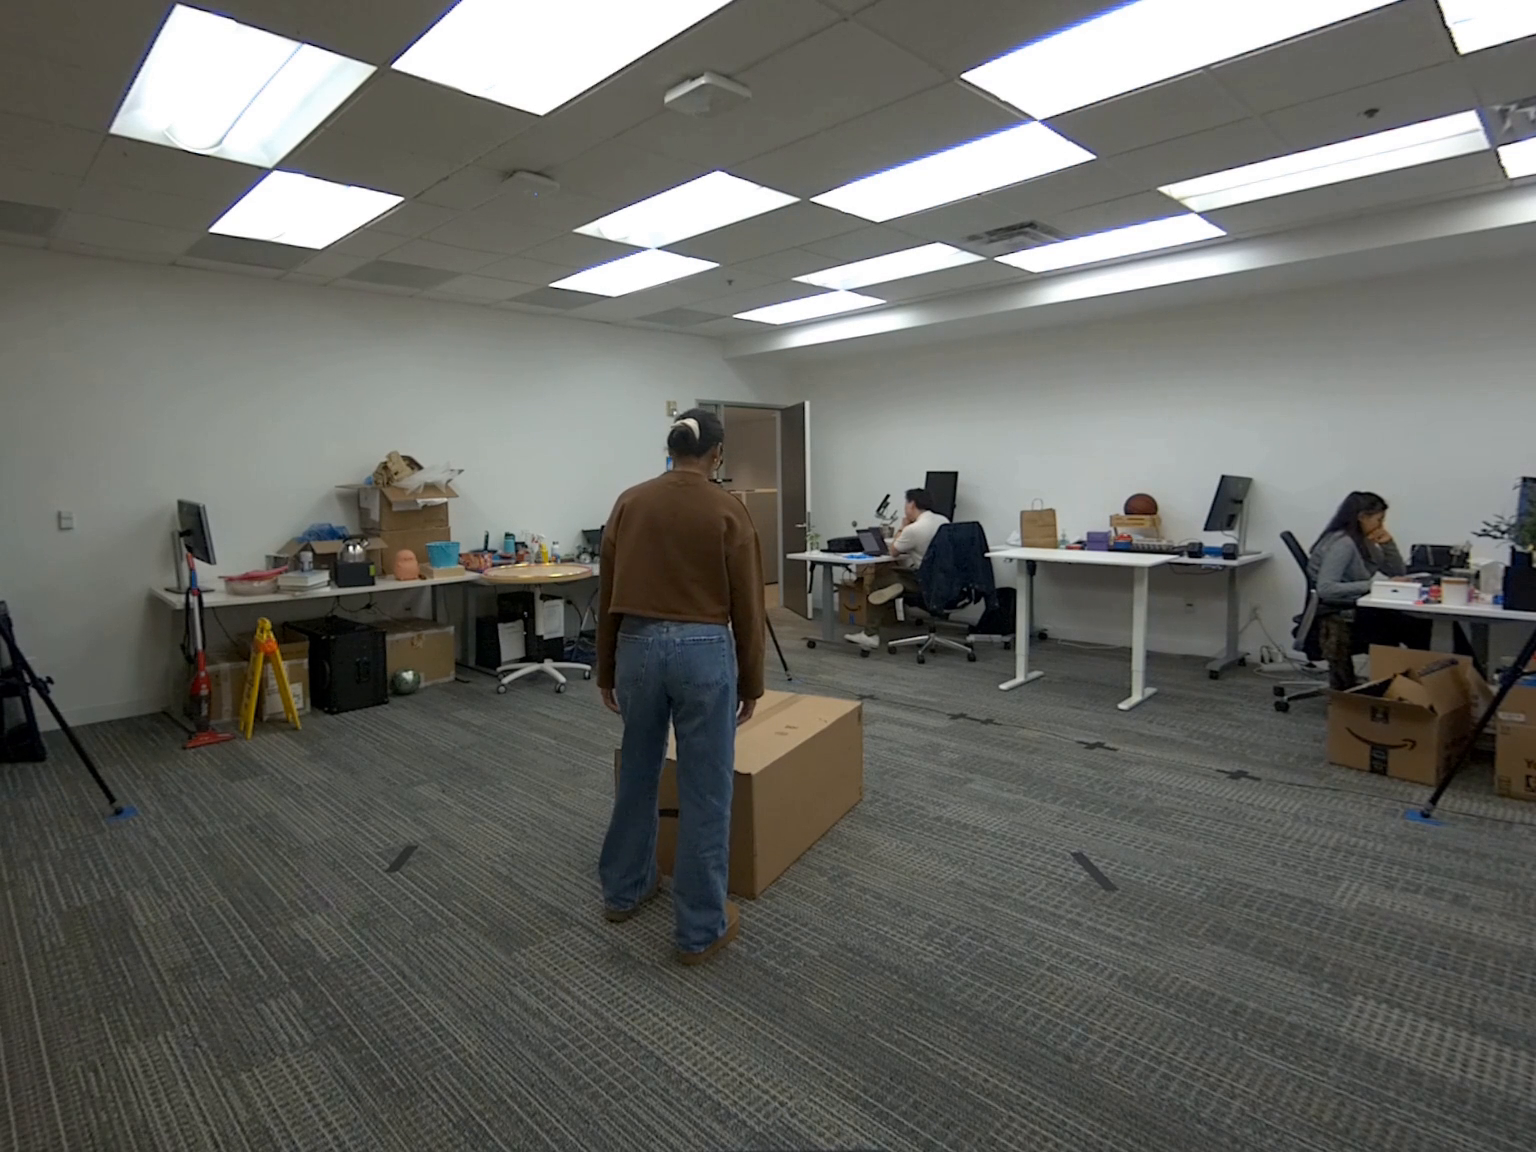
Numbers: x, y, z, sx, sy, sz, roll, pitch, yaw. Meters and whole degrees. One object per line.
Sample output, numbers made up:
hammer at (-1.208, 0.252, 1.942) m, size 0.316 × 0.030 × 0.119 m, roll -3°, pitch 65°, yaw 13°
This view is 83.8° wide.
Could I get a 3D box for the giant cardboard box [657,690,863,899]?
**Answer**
giant cardboard box at (-0.071, 0.798, 3.409) m, size 0.598 × 0.445 × 1.005 m, roll 1°, pitch 6°, yaw 28°
